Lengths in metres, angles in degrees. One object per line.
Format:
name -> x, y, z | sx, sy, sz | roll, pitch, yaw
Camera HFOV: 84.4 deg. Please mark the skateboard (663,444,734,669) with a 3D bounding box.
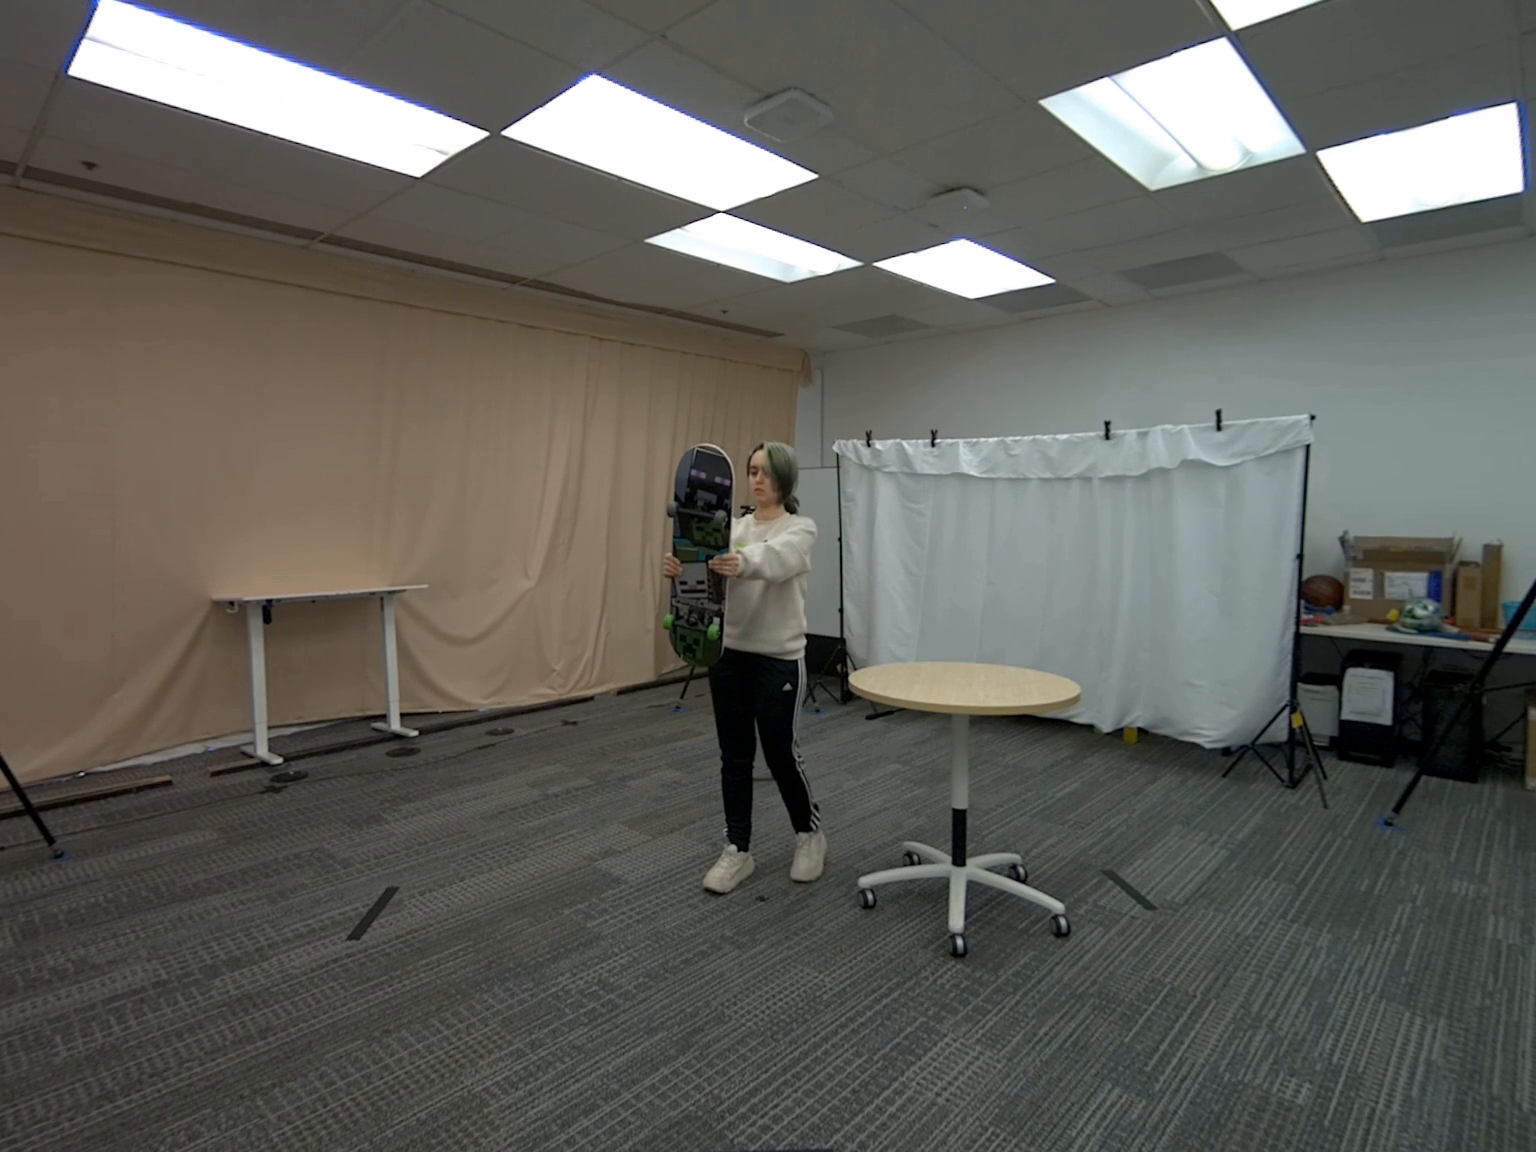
skateboard -> -0.206, -0.019, 2.657 | 0.197, 0.776, 0.109 | 14, 26, 14
